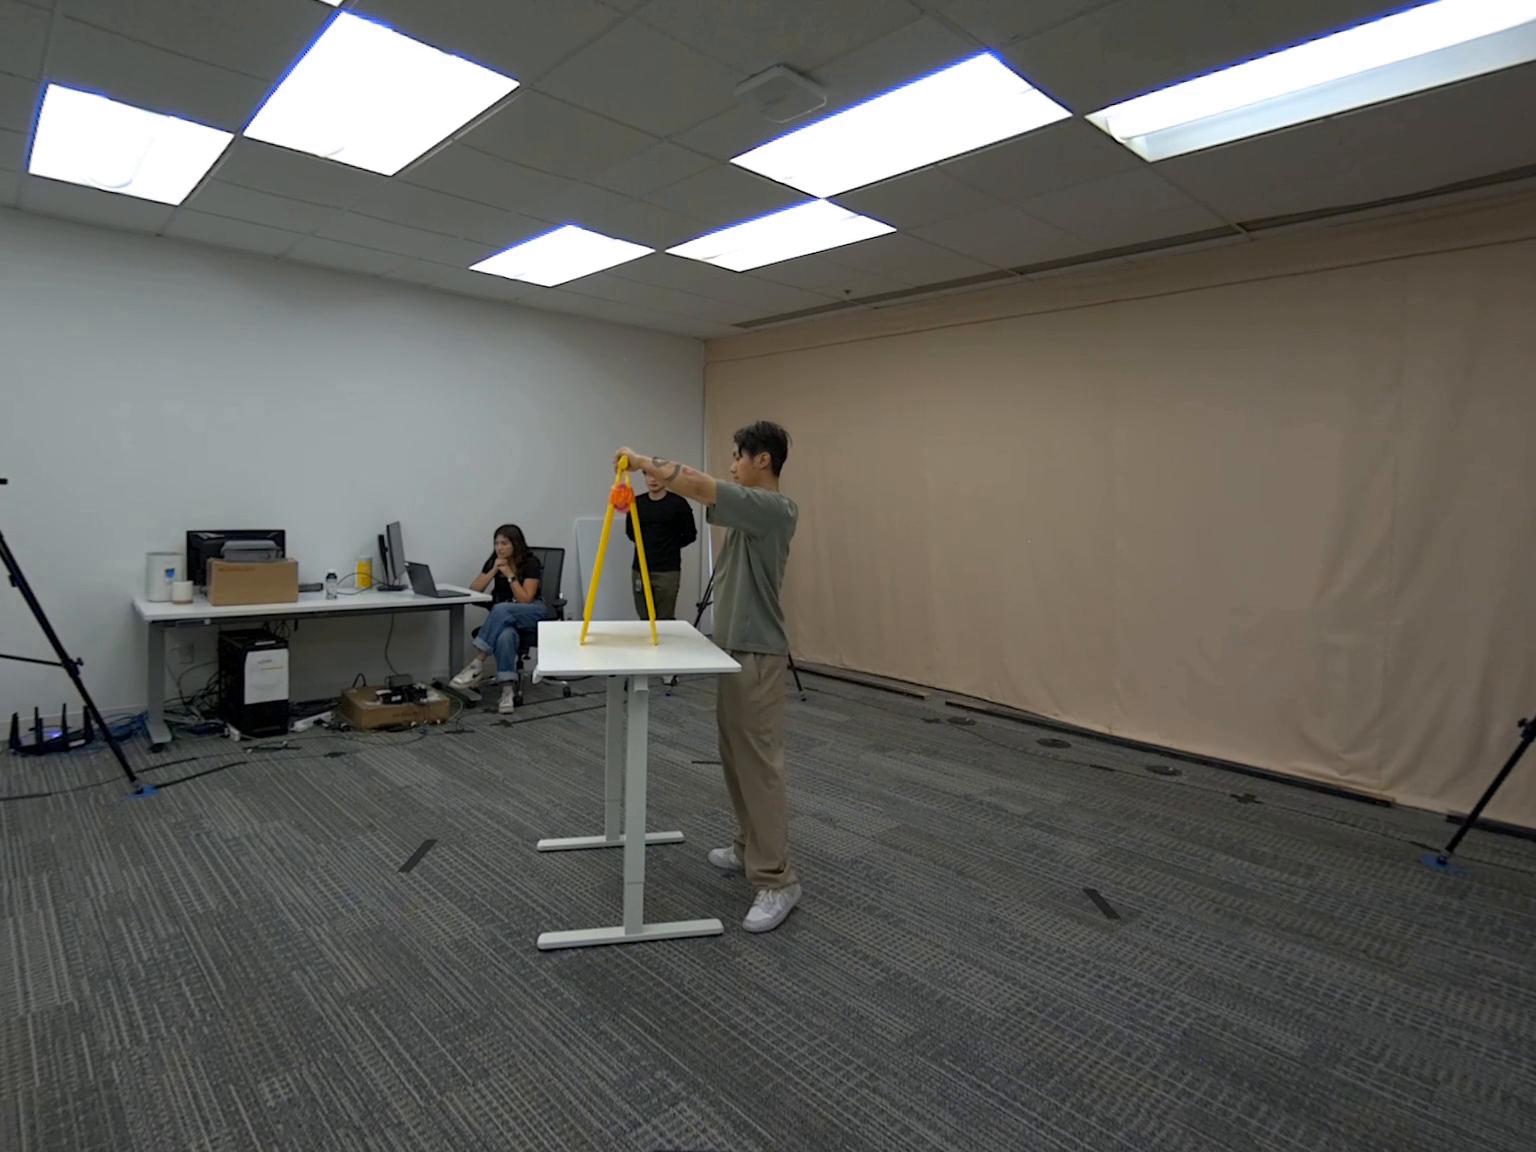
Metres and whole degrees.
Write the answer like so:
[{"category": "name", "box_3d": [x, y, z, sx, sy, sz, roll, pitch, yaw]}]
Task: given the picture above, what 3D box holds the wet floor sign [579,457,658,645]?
[{"category": "wet floor sign", "box_3d": [-0.528, -0.098, 3.006, 0.288, 0.644, 0.285, 1, 3, -8]}]
